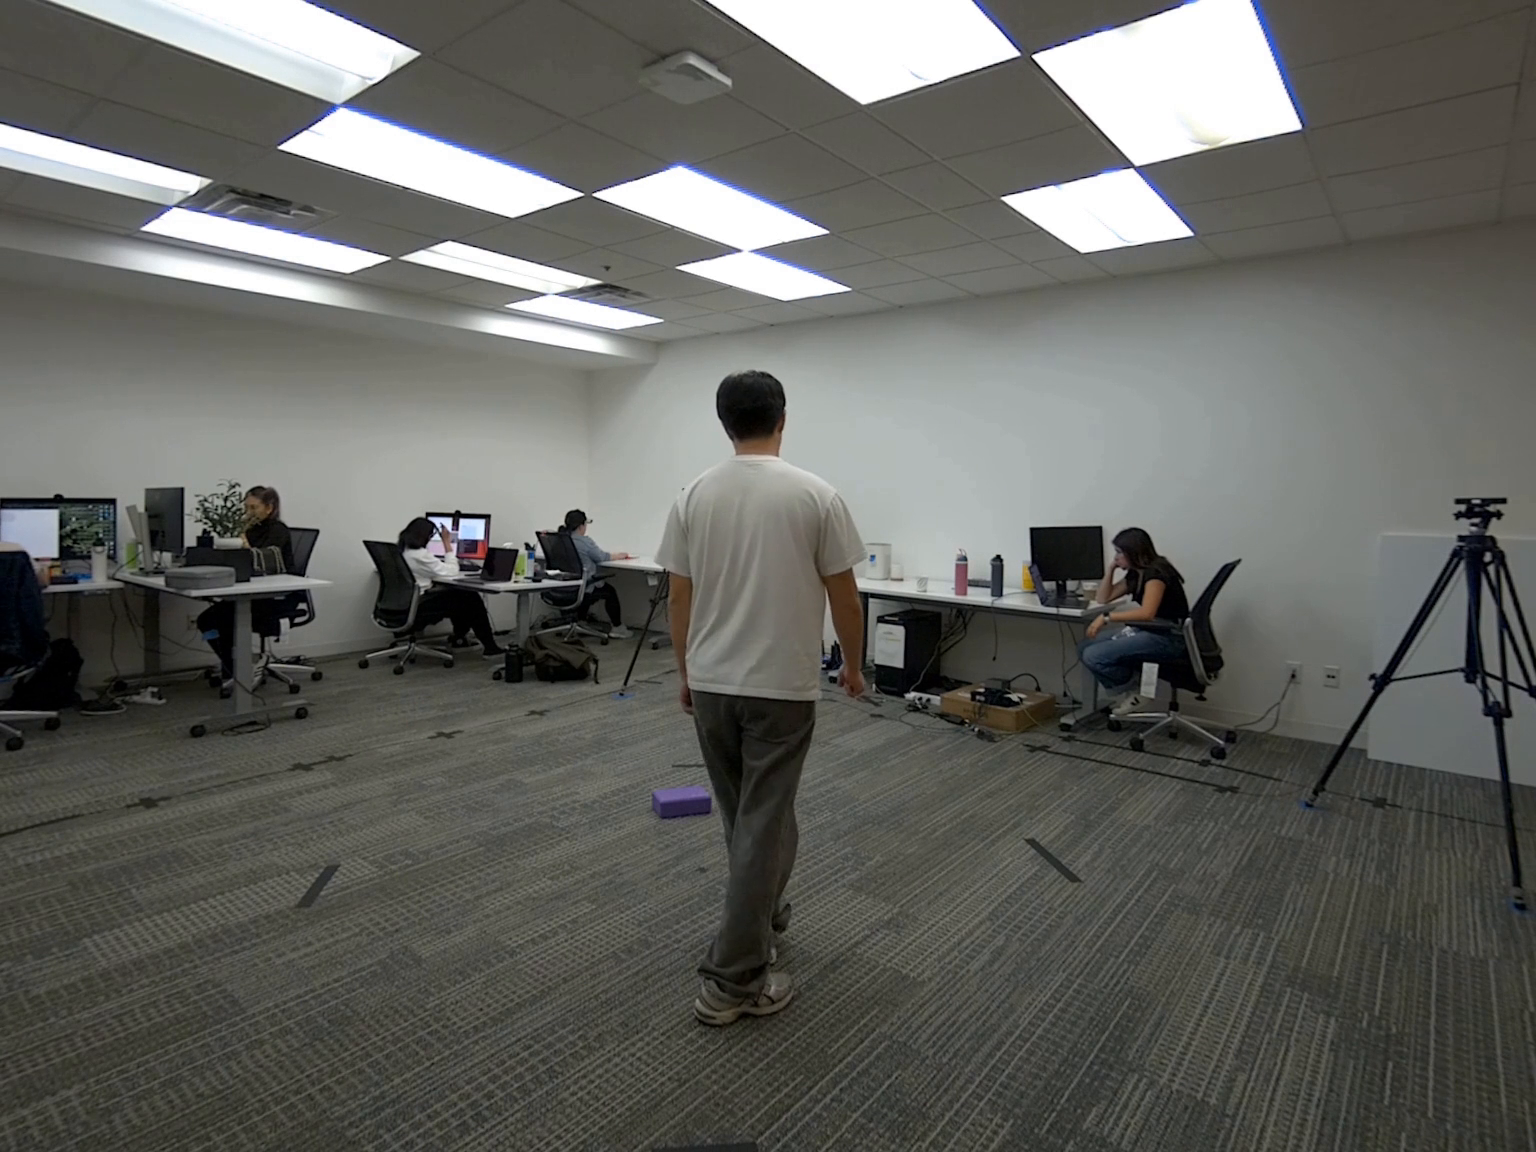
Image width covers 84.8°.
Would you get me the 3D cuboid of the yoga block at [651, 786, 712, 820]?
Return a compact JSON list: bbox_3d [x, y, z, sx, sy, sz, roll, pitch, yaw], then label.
[{"bbox_3d":[-0.372,0.964,3.683,0.225,0.076,0.153,-2,6,-20],"label":"yoga block"}]
